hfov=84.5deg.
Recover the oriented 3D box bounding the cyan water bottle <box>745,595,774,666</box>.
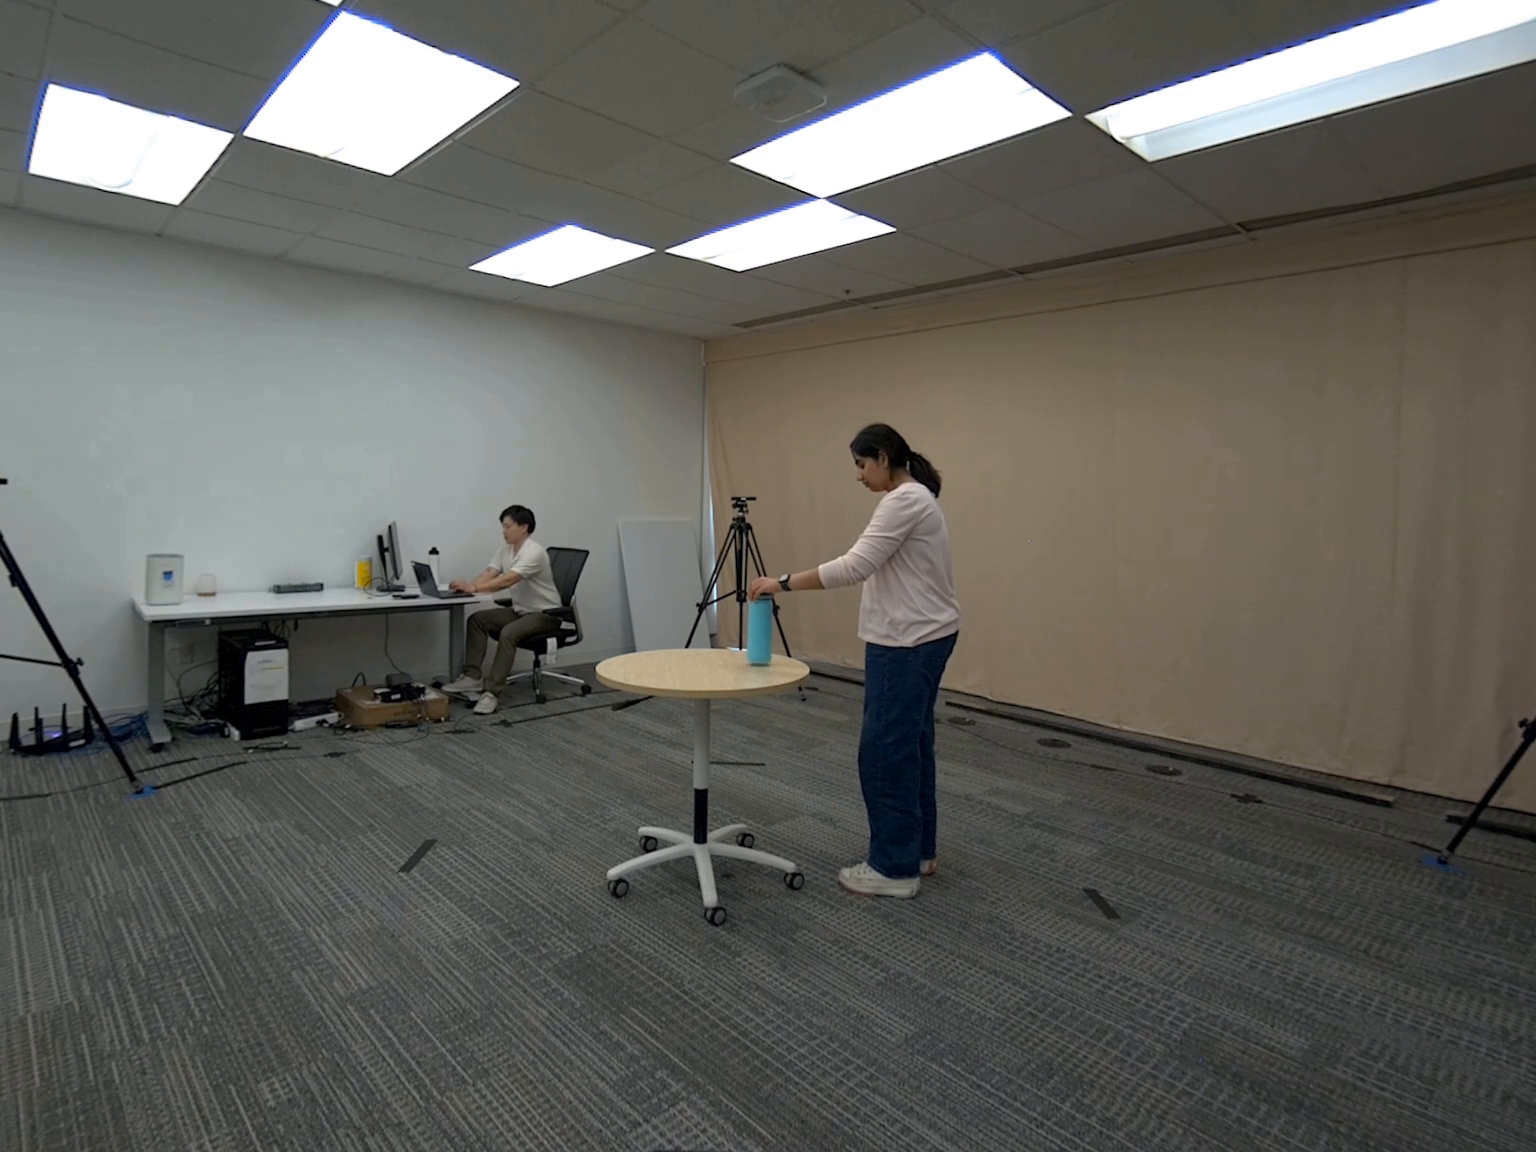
[{"bbox_3d":[-0.035,0.172,3.073,0.092,0.283,0.092,2,3,-1],"label":"cyan water bottle"}]
